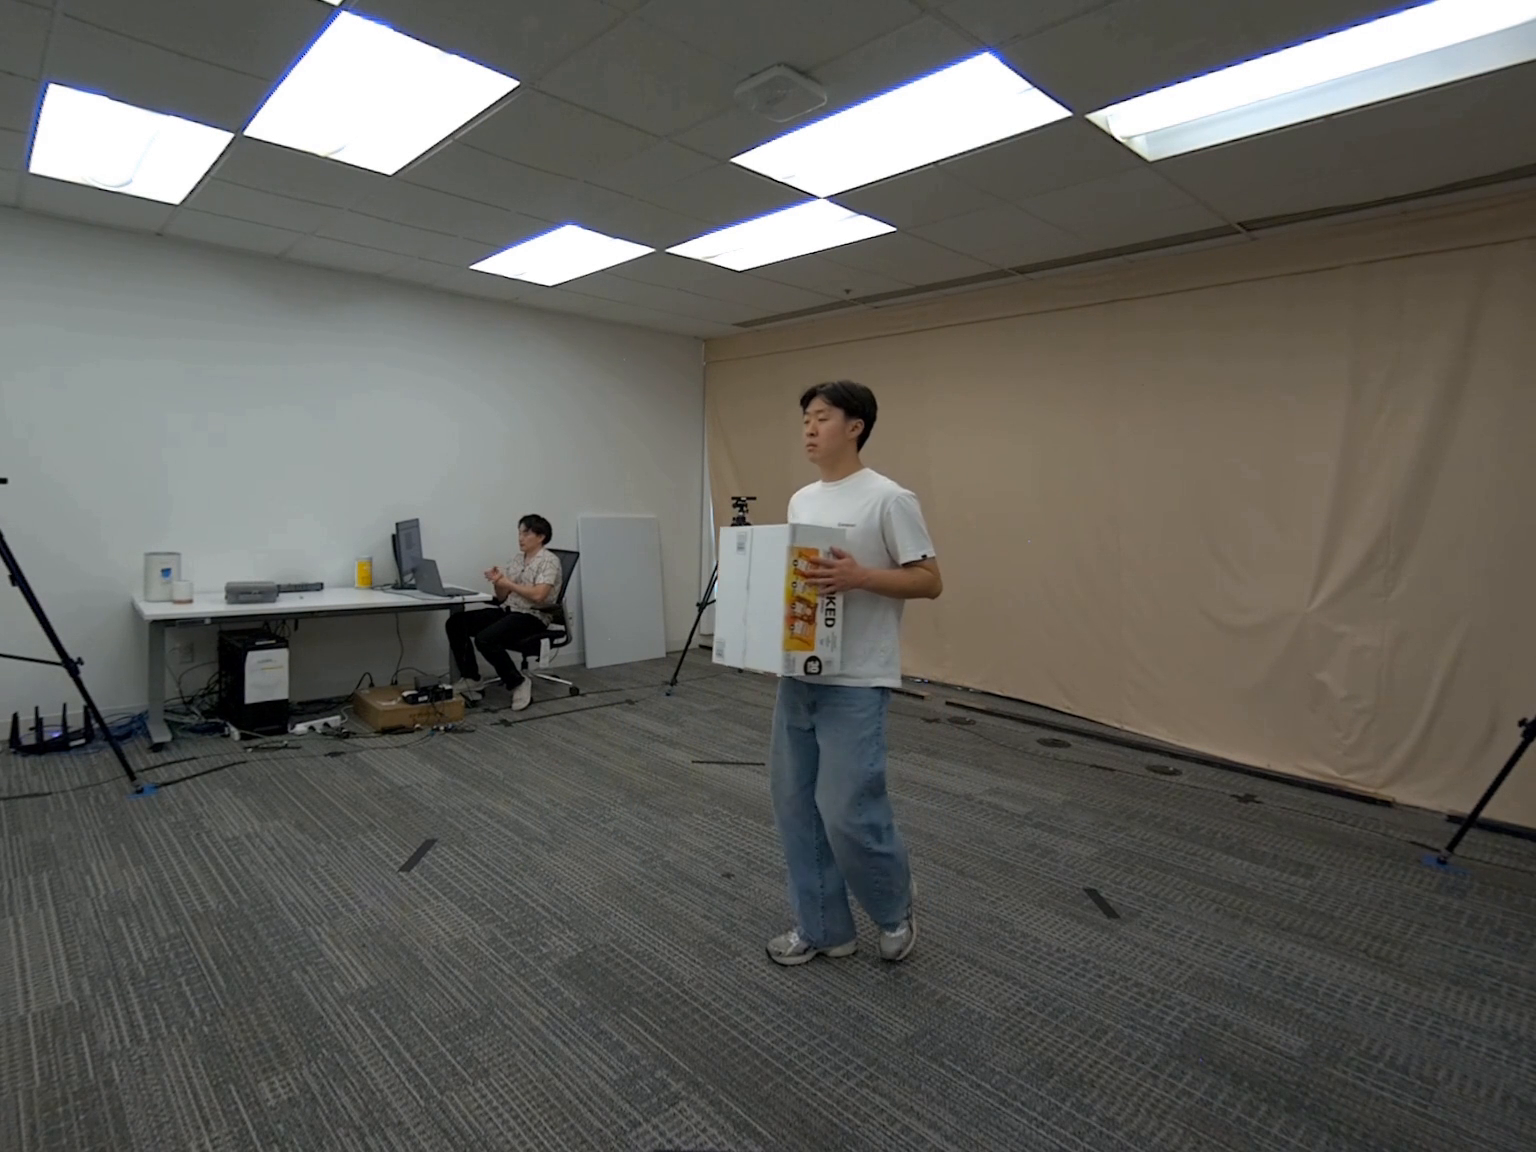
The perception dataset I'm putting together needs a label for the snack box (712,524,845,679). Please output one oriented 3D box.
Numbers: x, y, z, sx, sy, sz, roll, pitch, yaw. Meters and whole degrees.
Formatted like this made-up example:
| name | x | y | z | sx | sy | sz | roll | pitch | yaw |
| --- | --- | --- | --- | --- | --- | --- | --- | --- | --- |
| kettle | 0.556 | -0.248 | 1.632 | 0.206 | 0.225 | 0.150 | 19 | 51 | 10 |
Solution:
| name | x | y | z | sx | sy | sz | roll | pitch | yaw |
| --- | --- | --- | --- | --- | --- | --- | --- | --- | --- |
| snack box | 0.031 | 0.069 | 2.405 | 0.201 | 0.406 | 0.348 | 4 | -3 | -36 |
